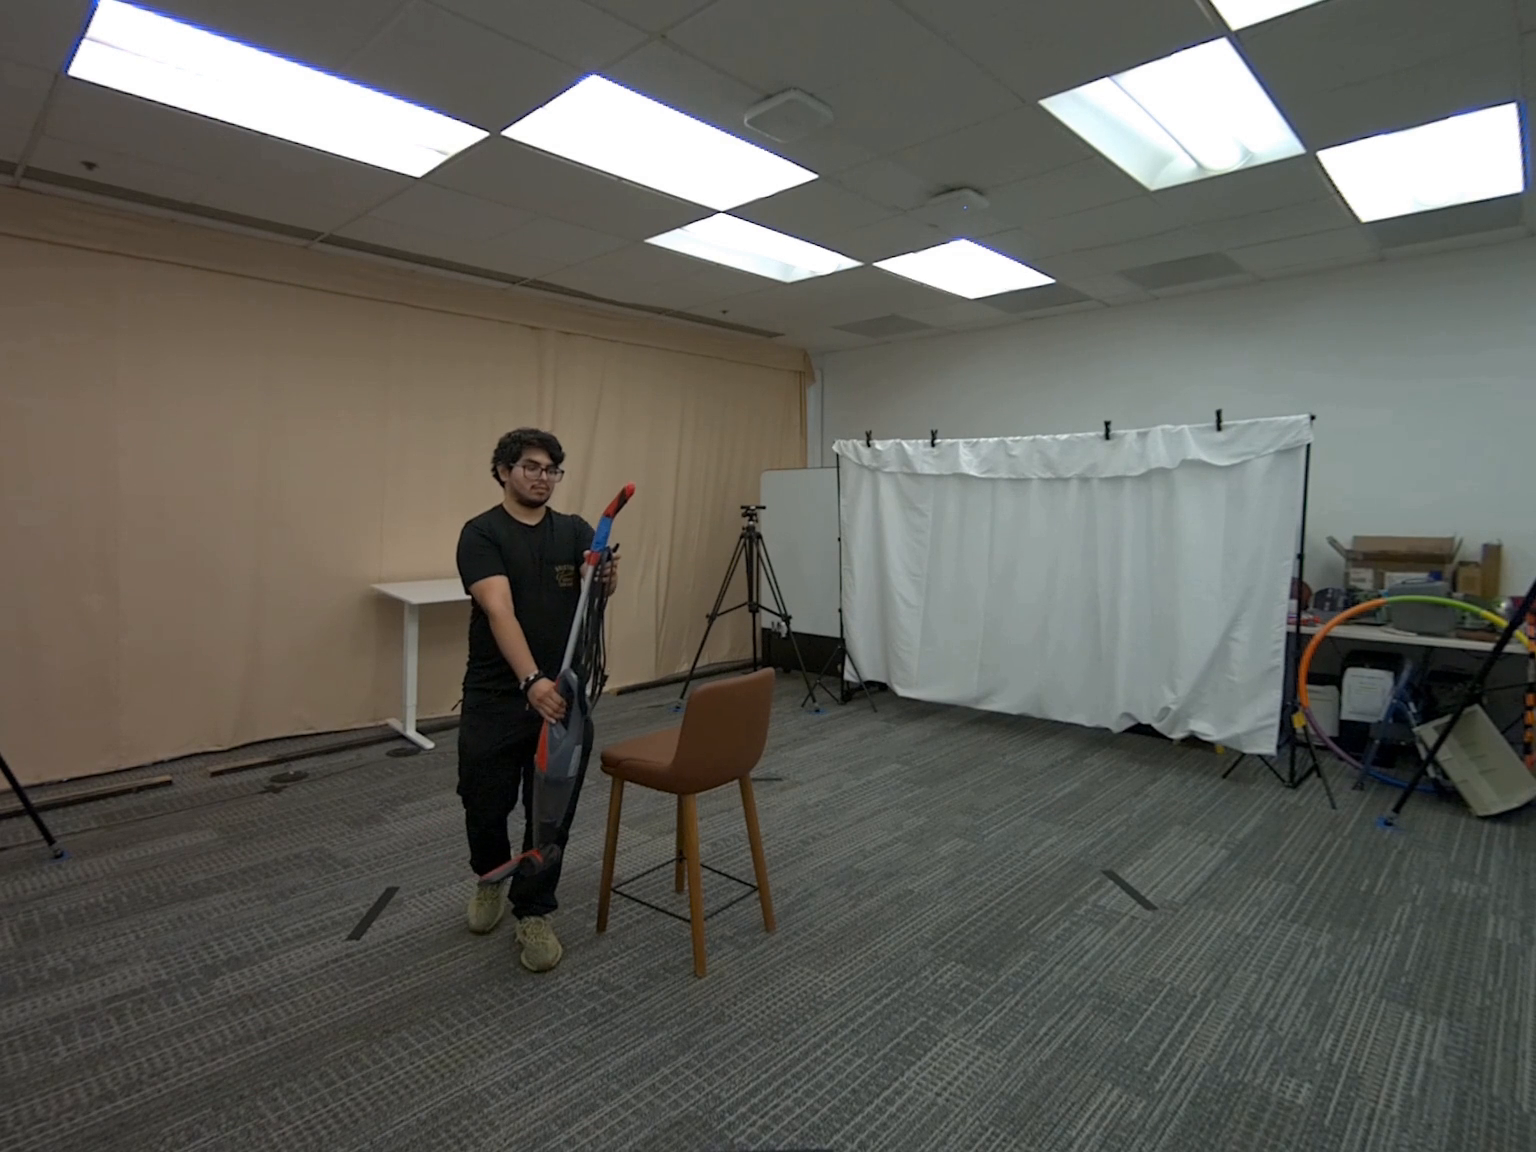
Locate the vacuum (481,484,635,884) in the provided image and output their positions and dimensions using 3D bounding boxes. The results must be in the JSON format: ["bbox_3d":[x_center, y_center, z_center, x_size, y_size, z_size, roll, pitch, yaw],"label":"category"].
[{"bbox_3d":[-0.502,0.265,2.223,0.149,1.049,0.244,16,2,43],"label":"vacuum"}]
